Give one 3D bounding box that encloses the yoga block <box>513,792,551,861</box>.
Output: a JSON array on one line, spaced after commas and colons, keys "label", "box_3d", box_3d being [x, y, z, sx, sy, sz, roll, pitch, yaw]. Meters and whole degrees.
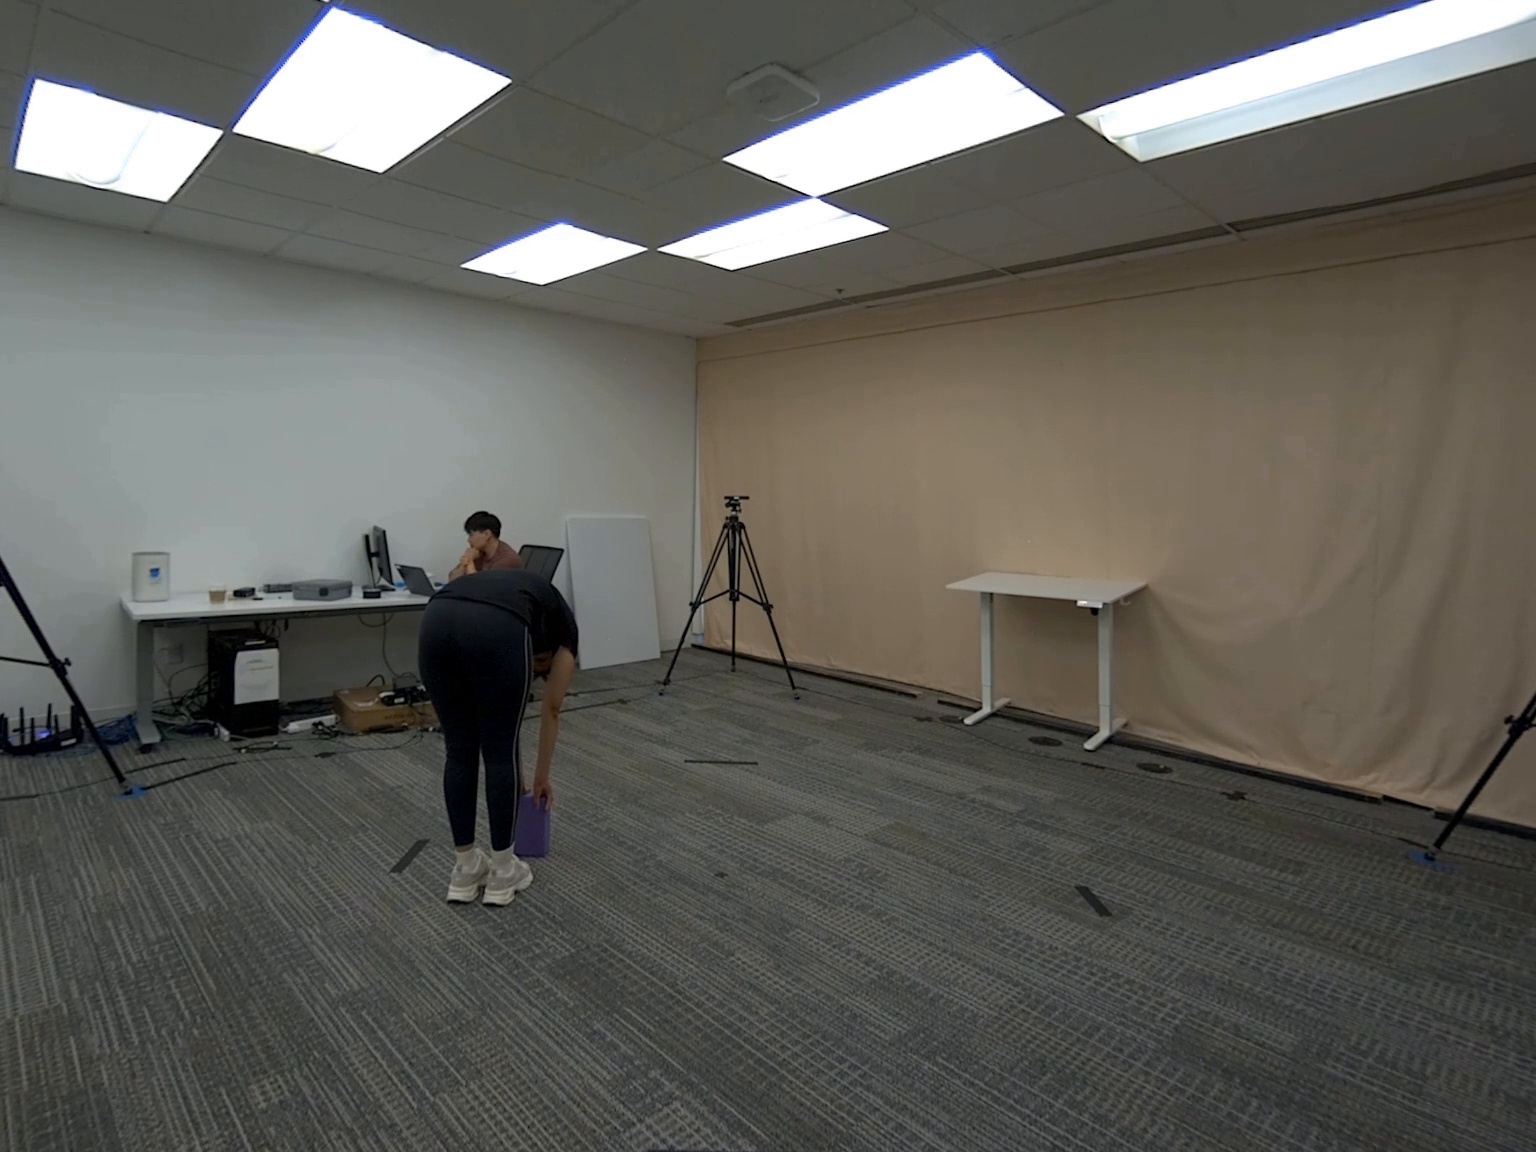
[{"label": "yoga block", "box_3d": [-0.930, 0.966, 3.256, 0.149, 0.229, 0.076, 3, 4, 4]}]
